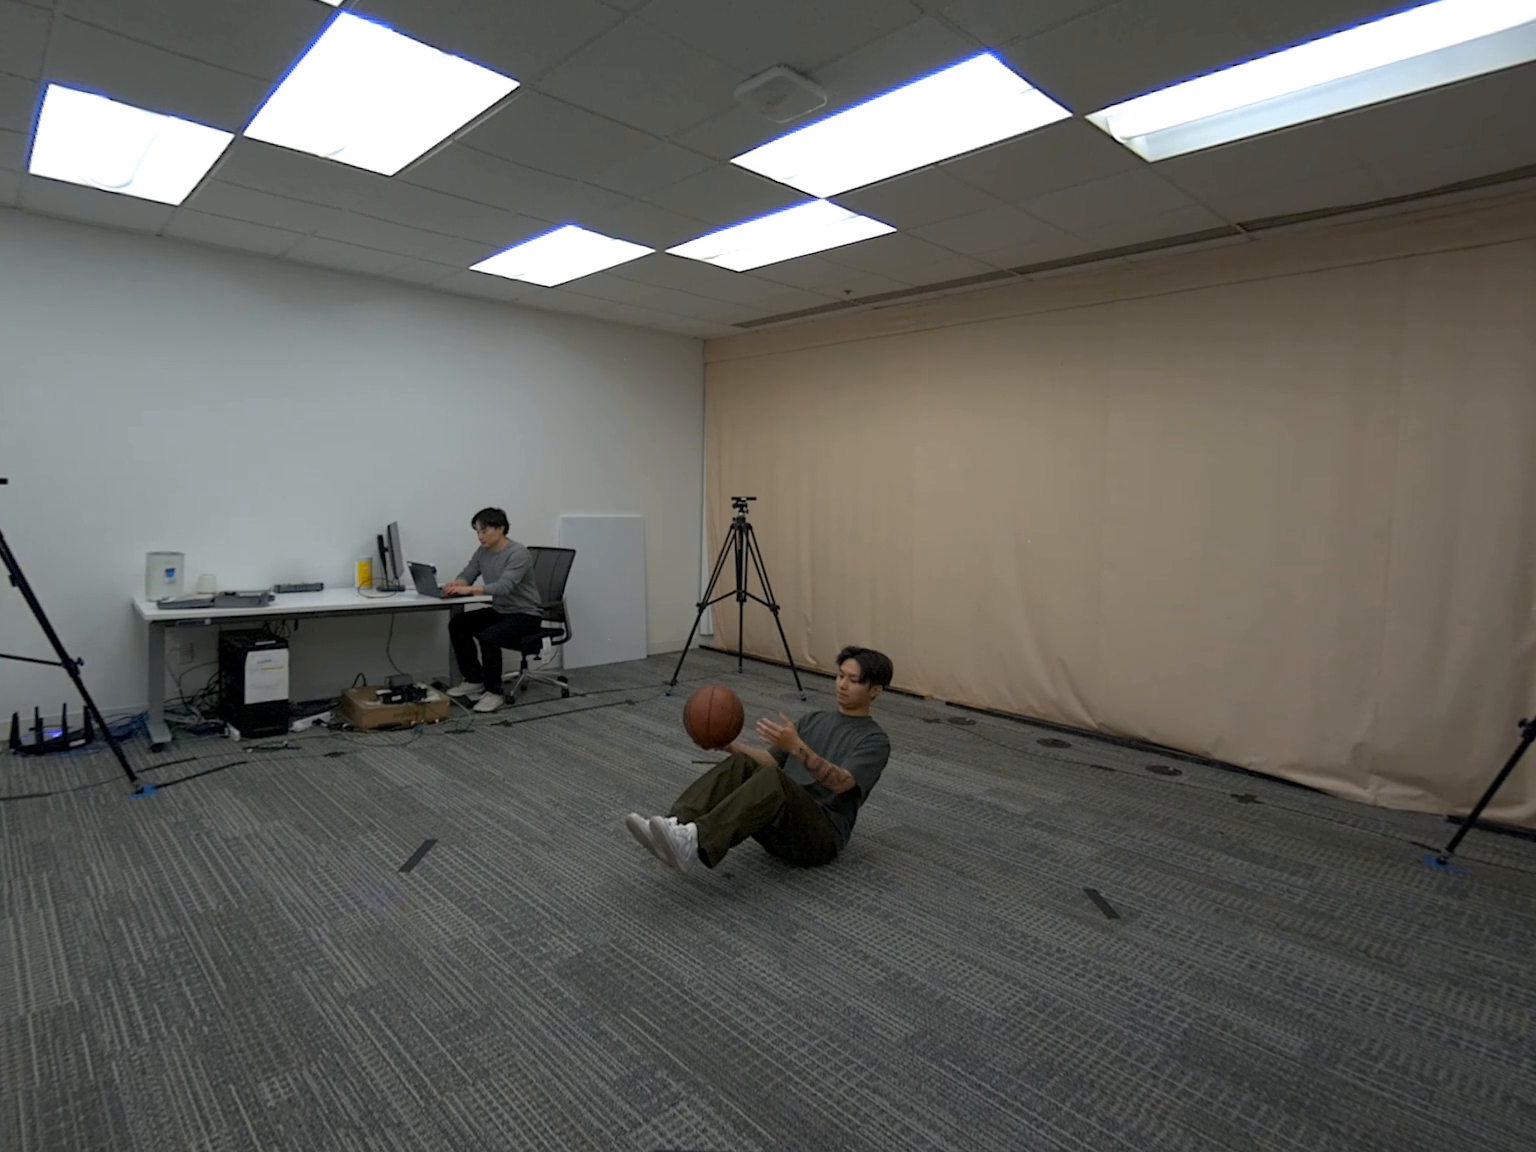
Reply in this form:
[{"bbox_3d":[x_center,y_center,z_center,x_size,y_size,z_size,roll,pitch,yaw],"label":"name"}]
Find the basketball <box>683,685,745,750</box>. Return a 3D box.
[{"bbox_3d":[-0.213,0.551,3.257,0.236,0.235,0.237,1,4,-1],"label":"basketball"}]
